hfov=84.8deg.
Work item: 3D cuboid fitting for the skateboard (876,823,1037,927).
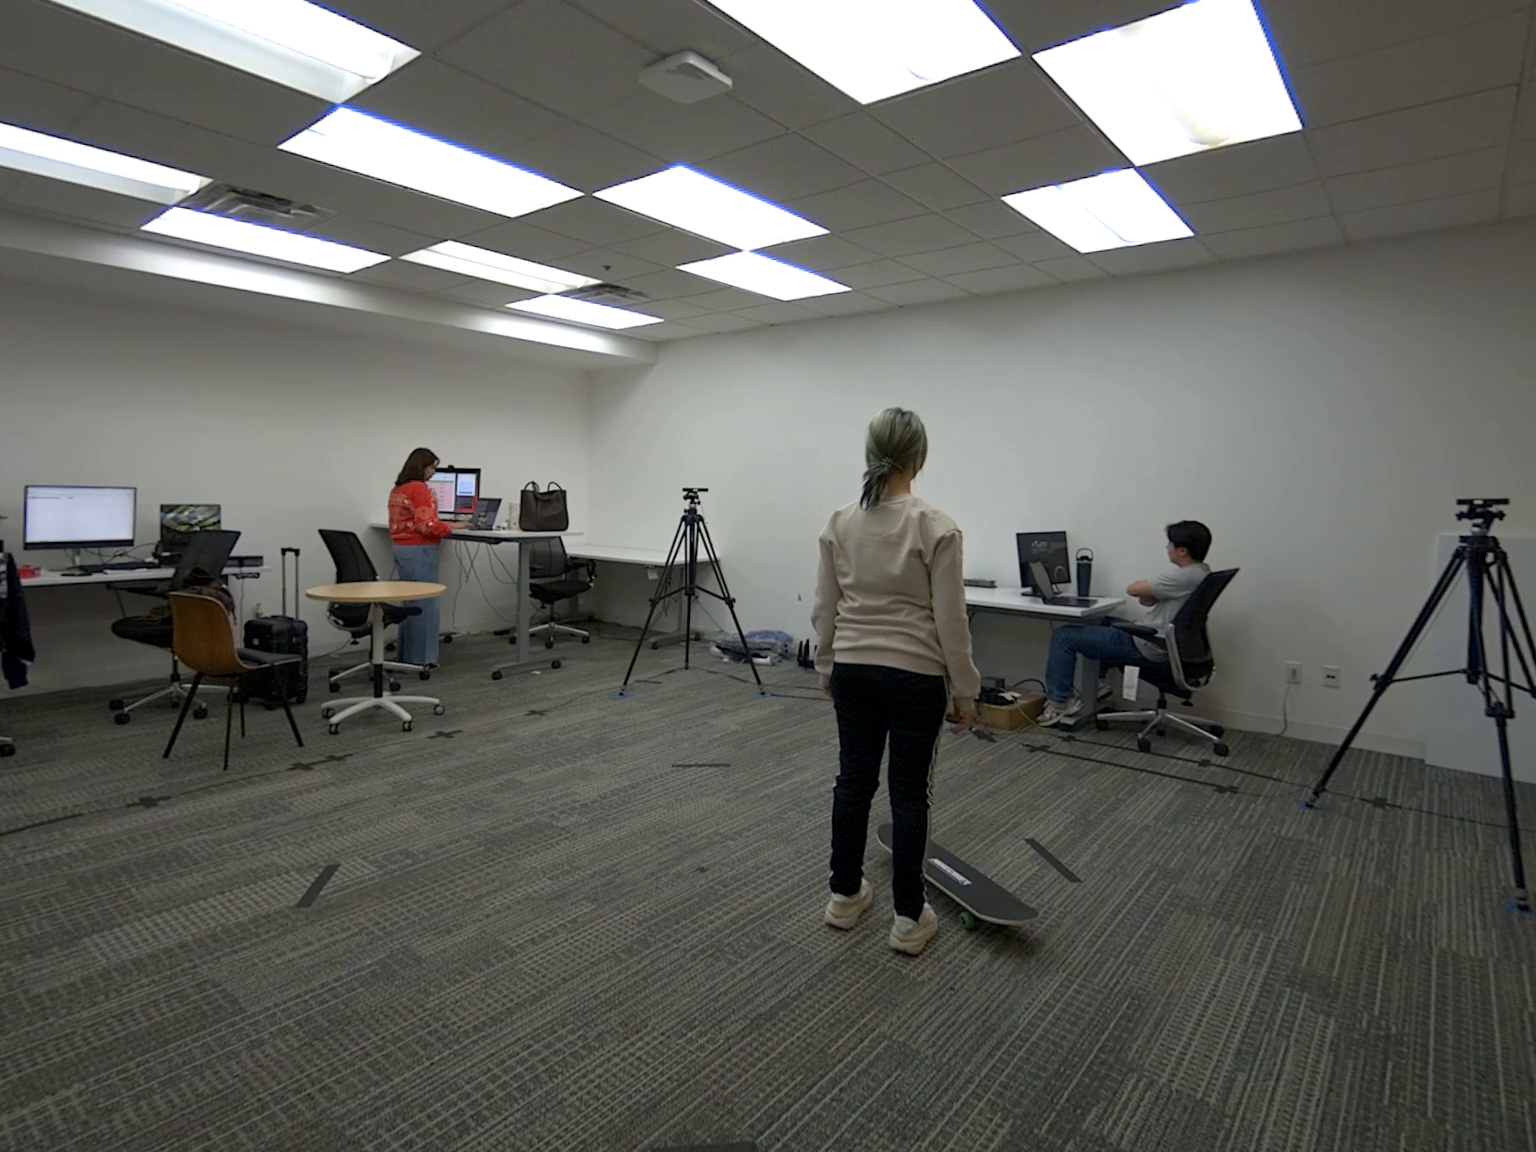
[{"bbox_3d":[0.621,1.047,2.944,0.189,0.110,0.806,-1,6,-23],"label":"skateboard"}]
